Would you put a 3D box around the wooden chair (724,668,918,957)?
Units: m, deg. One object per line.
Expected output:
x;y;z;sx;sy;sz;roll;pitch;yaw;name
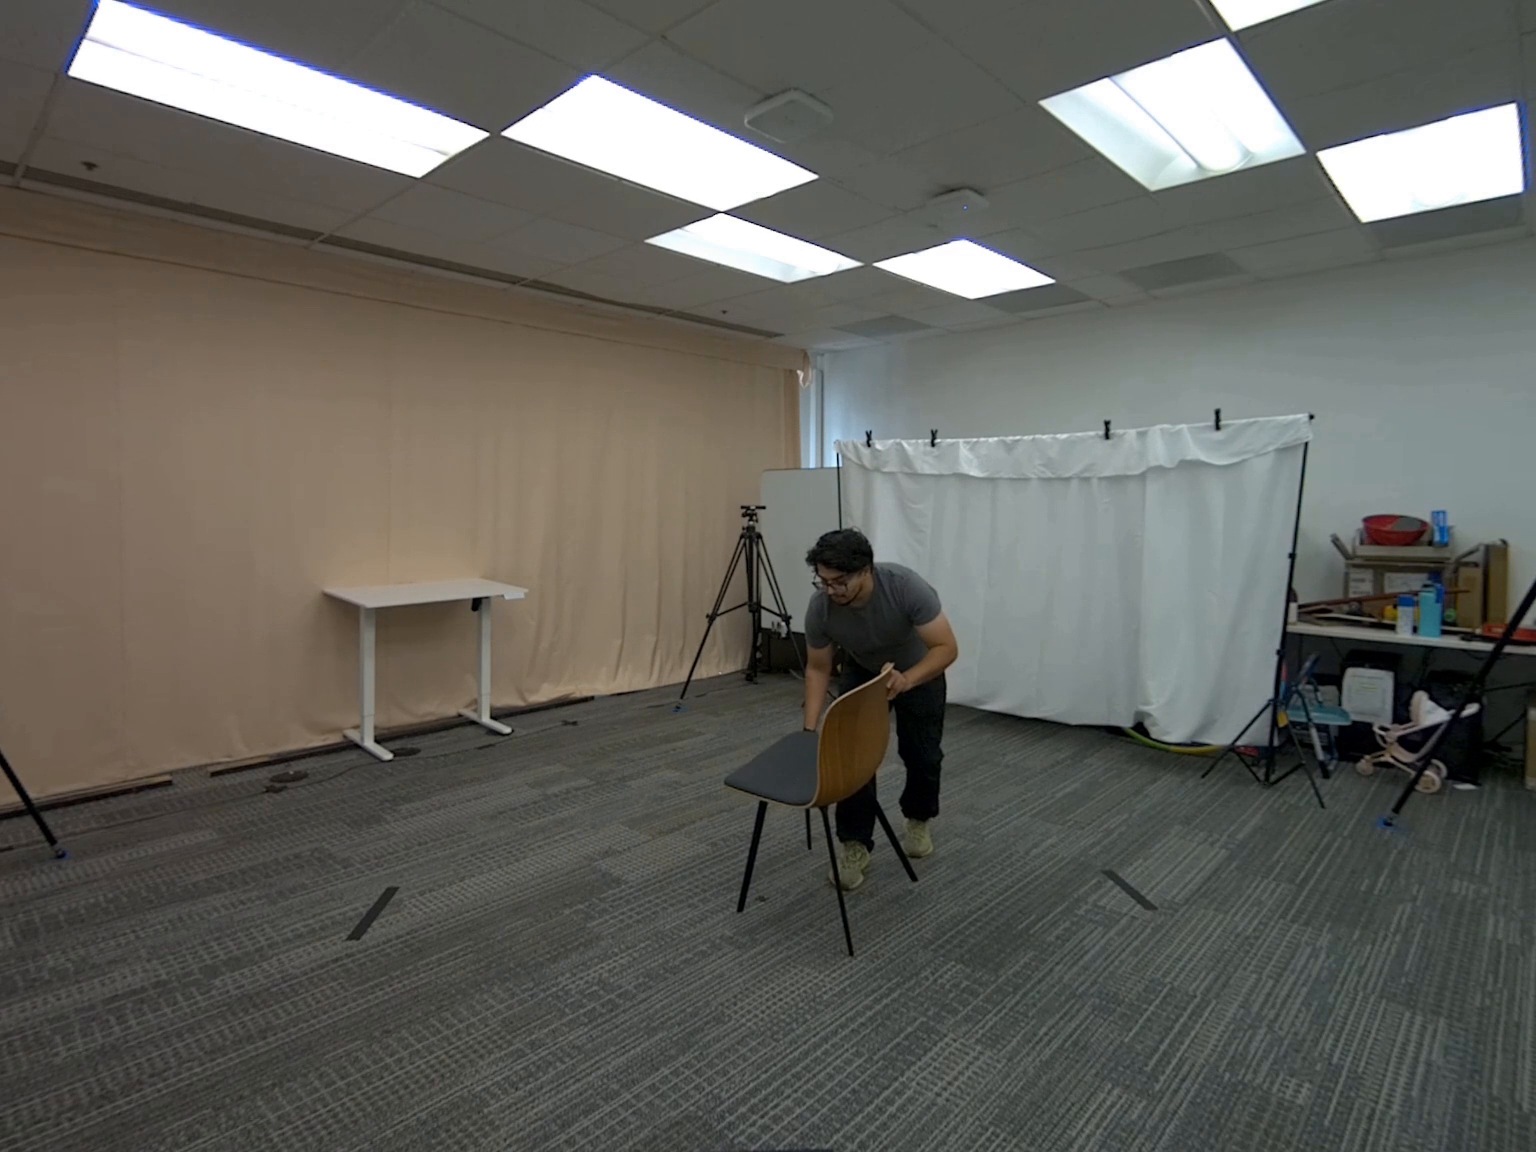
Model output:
0.154;0.697;2.821;0.541;0.868;0.467;8;18;37;wooden chair
